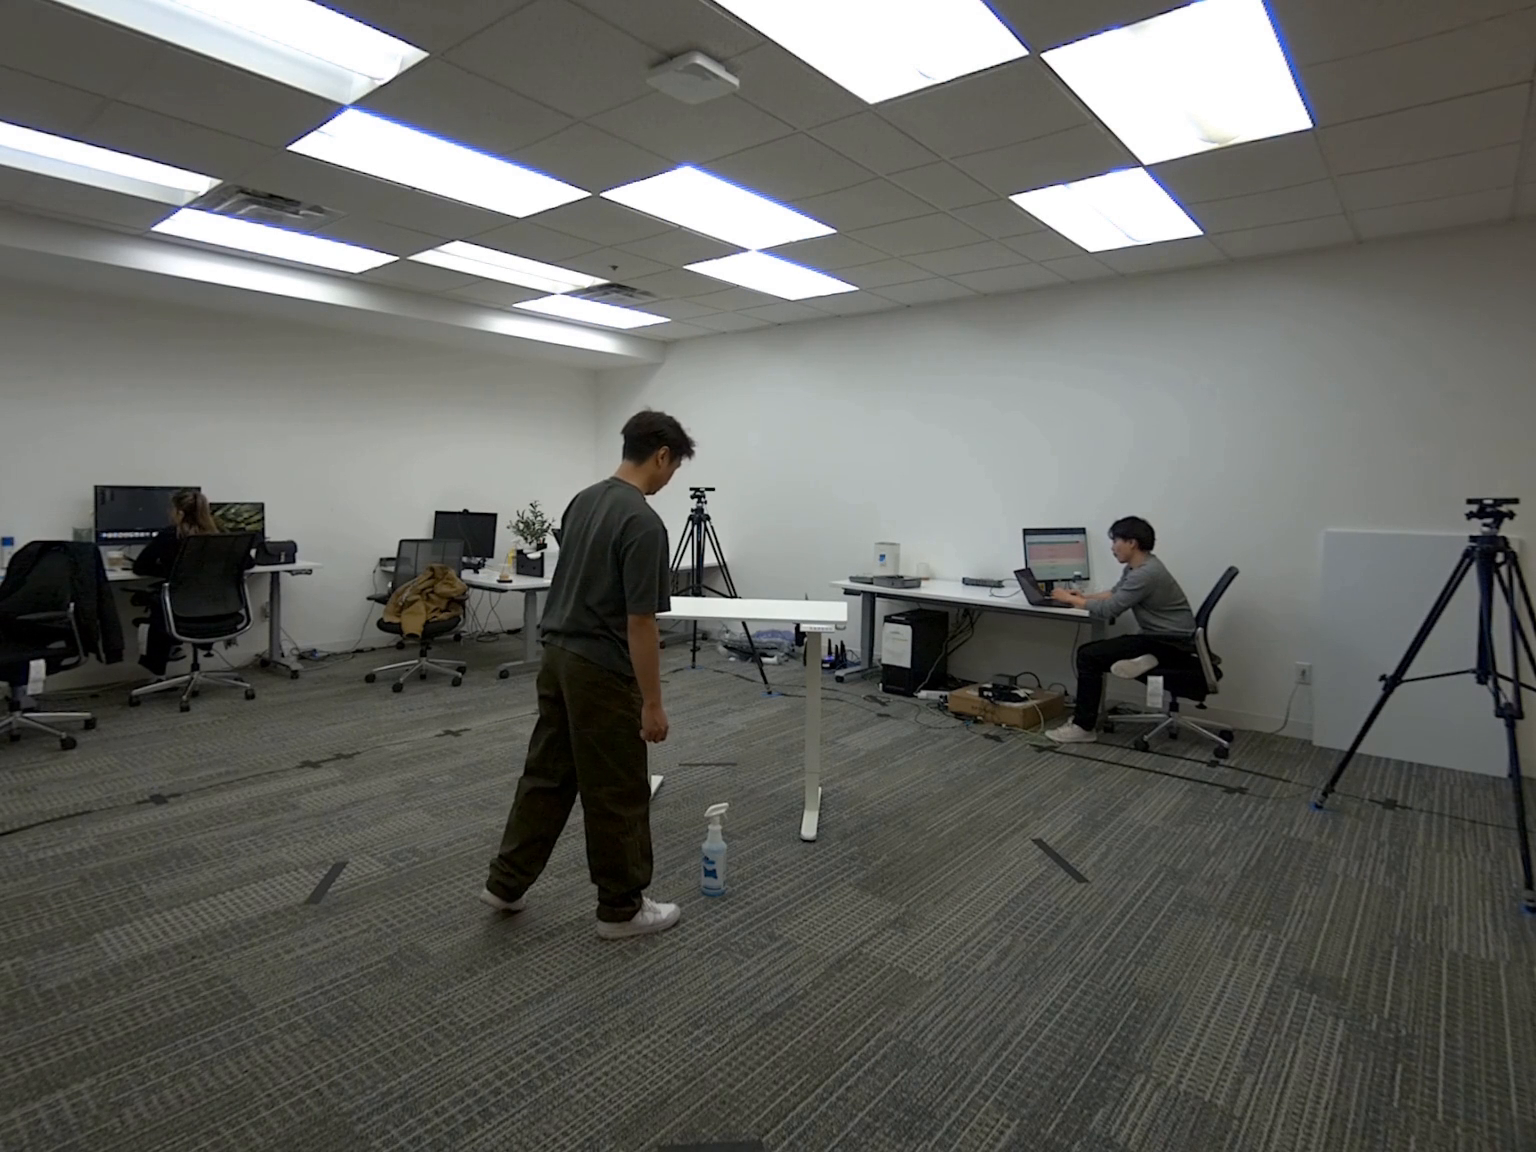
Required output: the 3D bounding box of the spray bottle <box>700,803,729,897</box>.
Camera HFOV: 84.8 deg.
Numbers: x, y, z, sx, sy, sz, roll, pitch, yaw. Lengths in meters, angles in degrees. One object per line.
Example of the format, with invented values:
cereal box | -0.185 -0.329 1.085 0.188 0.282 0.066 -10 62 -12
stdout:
spray bottle | -0.192 0.938 2.932 0.089 0.297 0.087 2 1 -6
